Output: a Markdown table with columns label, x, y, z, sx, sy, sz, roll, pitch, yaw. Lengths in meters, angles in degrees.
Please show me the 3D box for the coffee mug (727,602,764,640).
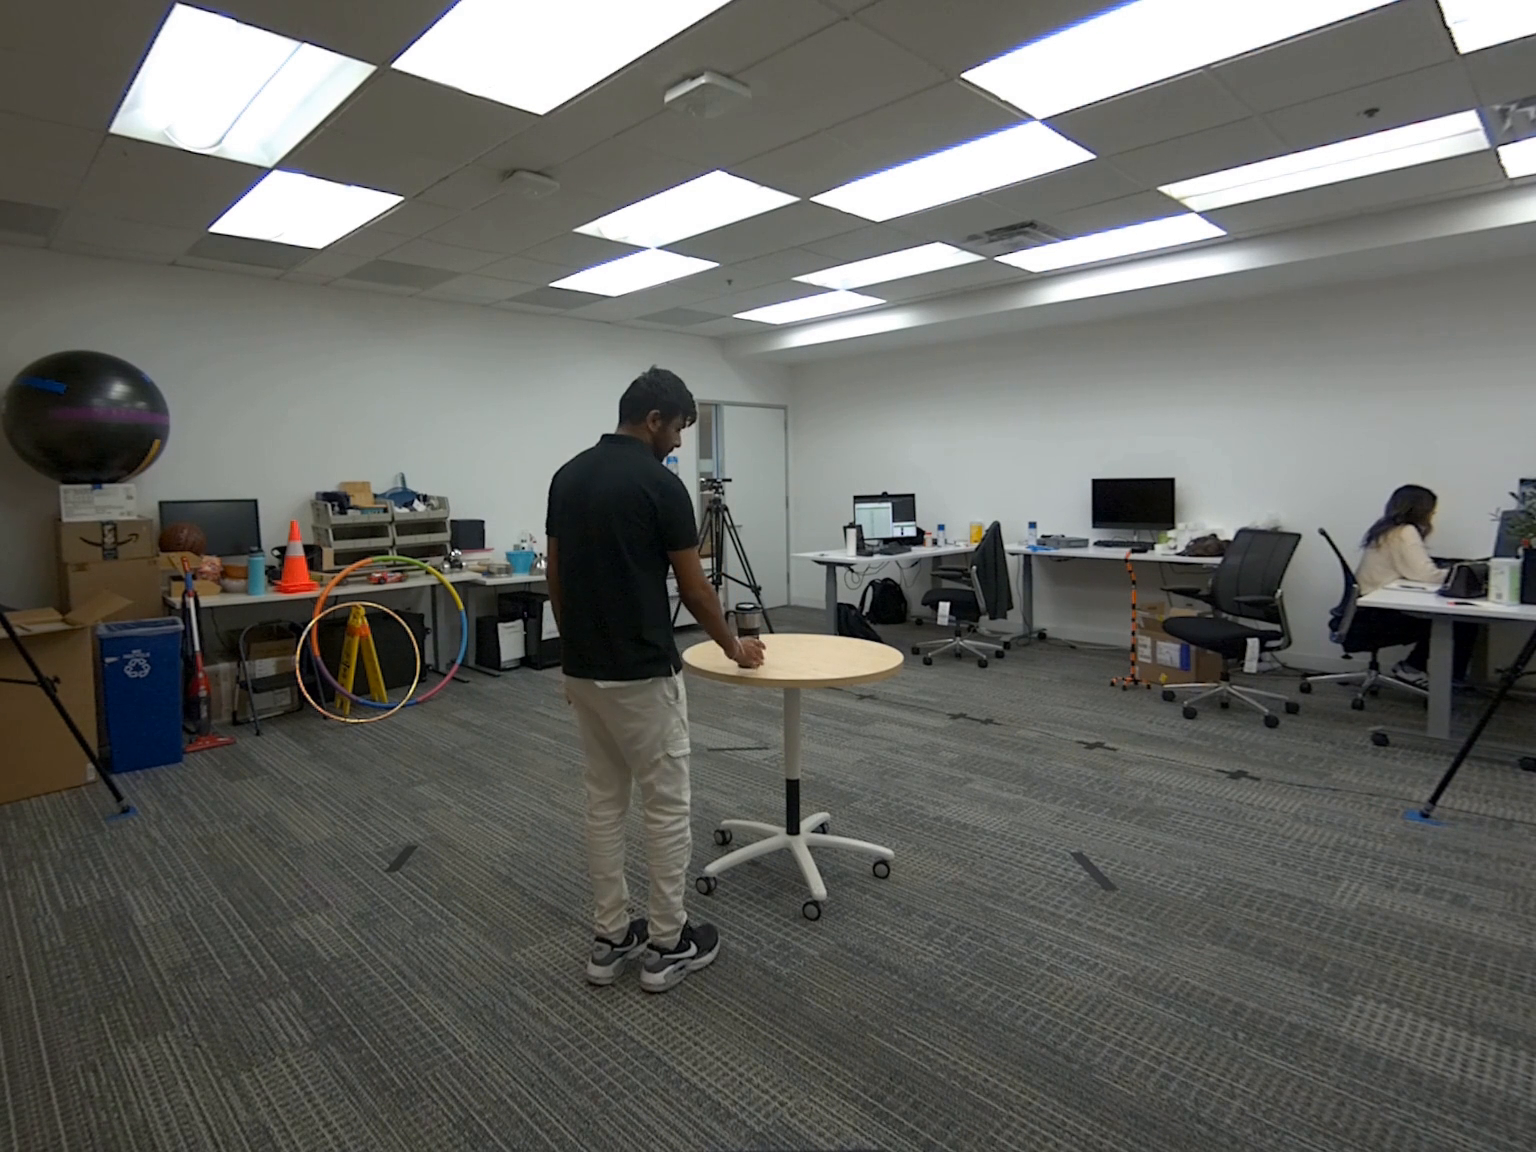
| label | x | y | z | sx | sy | sz | roll | pitch | yaw |
| --- | --- | --- | --- | --- | --- | --- | --- | --- | --- |
| coffee mug | -0.076 | 0.195 | 2.802 | 0.126 | 0.202 | 0.086 | 6 | 9 | 35 |
